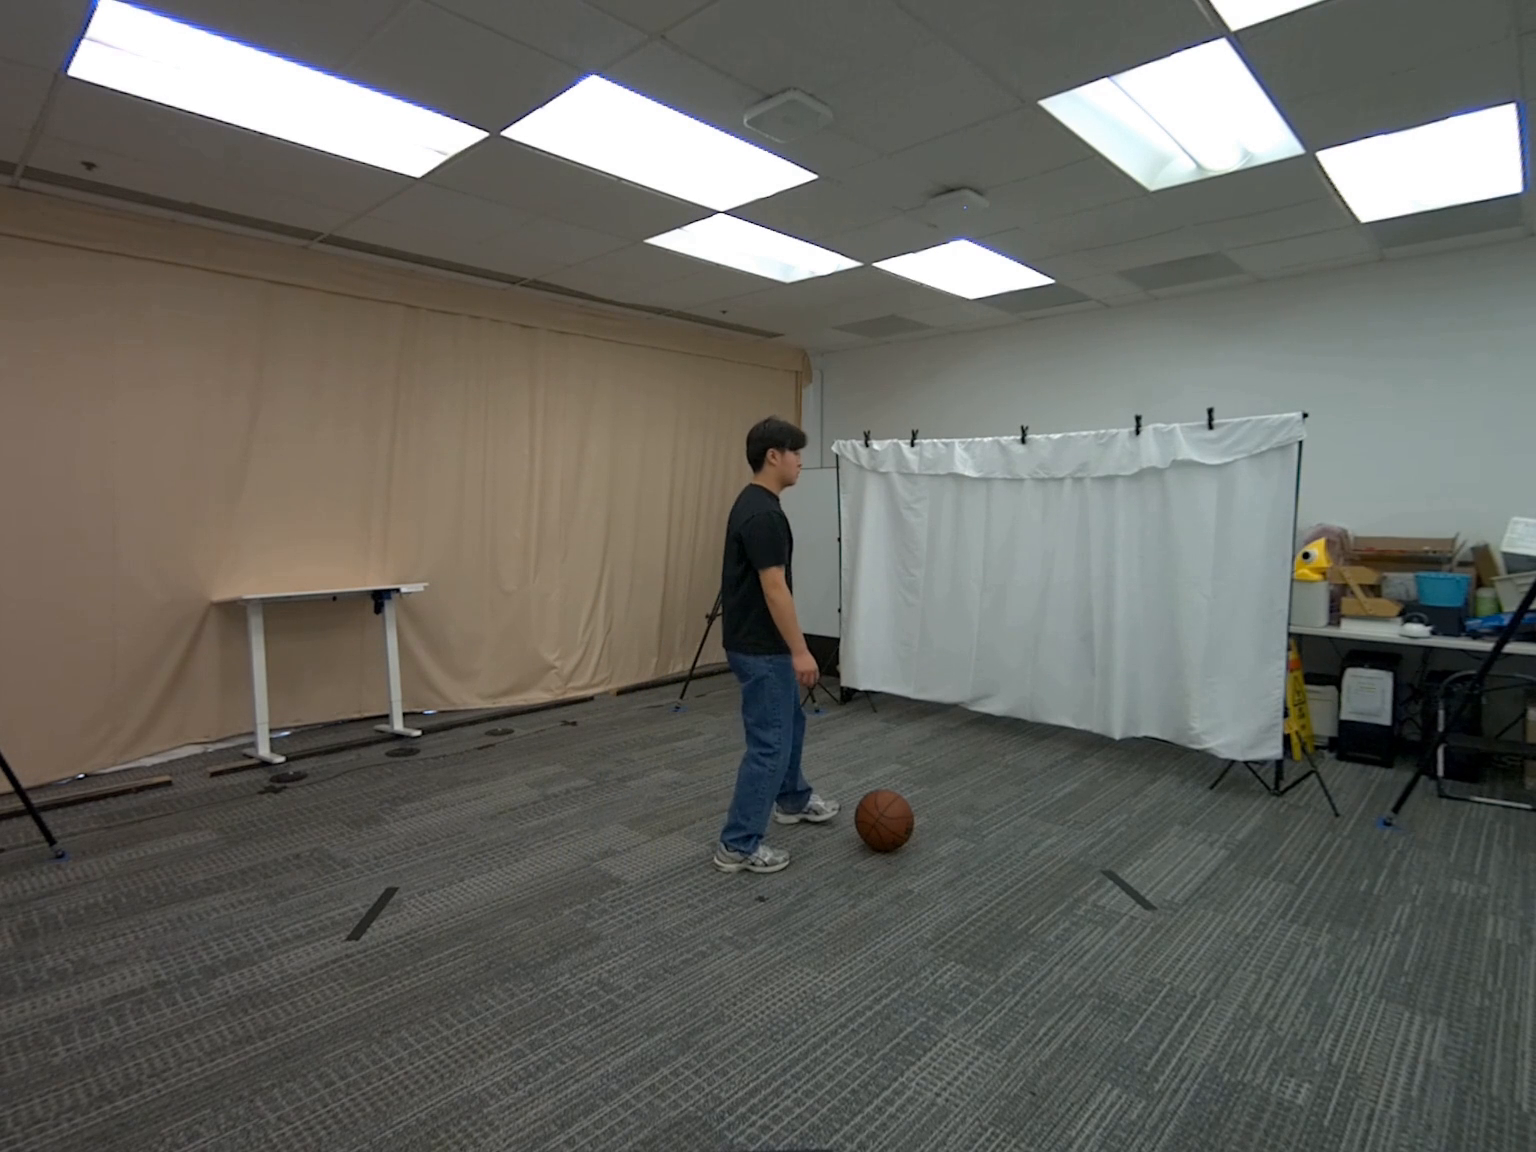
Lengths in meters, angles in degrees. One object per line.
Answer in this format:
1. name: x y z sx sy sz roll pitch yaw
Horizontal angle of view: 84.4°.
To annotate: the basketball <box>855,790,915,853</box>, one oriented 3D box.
1. basketball: 0.471 0.988 3.413 0.236 0.235 0.237 0 4 -2
